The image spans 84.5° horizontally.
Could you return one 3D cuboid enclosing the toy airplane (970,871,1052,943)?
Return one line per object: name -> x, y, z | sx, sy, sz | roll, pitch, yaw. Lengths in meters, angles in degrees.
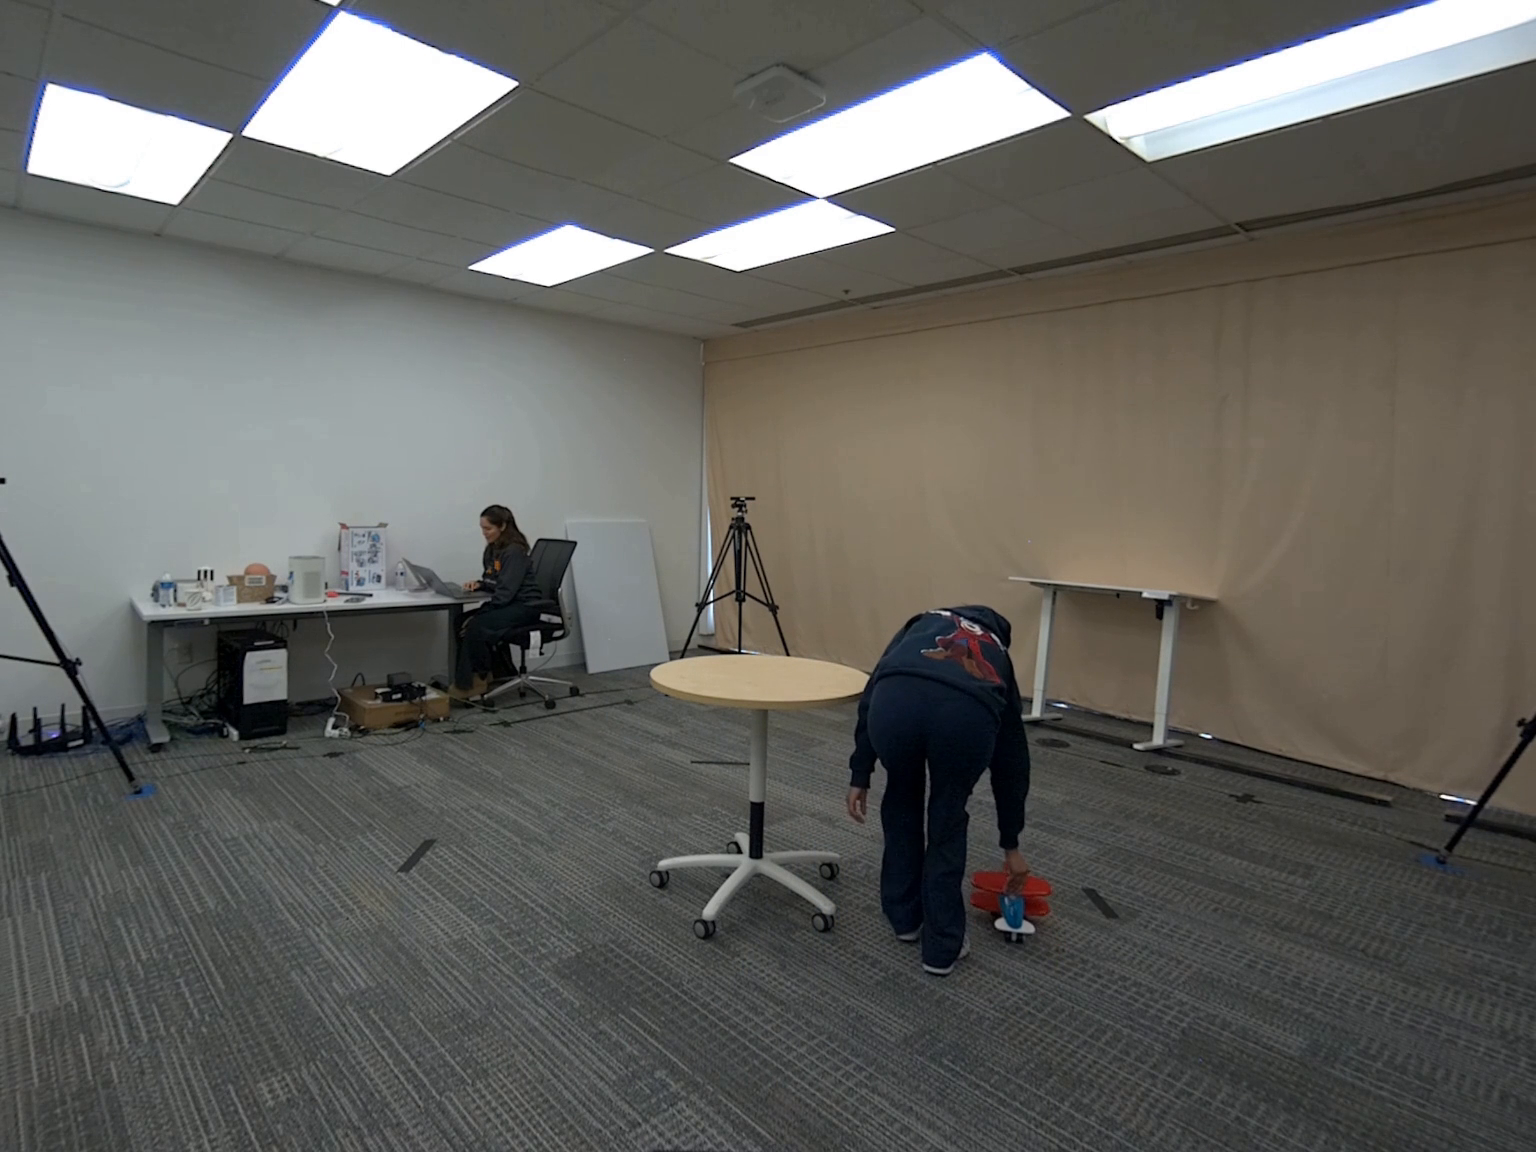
toy airplane -> 0.817, 1.090, 2.776 | 0.248, 0.156, 0.263 | 0, 4, -18
